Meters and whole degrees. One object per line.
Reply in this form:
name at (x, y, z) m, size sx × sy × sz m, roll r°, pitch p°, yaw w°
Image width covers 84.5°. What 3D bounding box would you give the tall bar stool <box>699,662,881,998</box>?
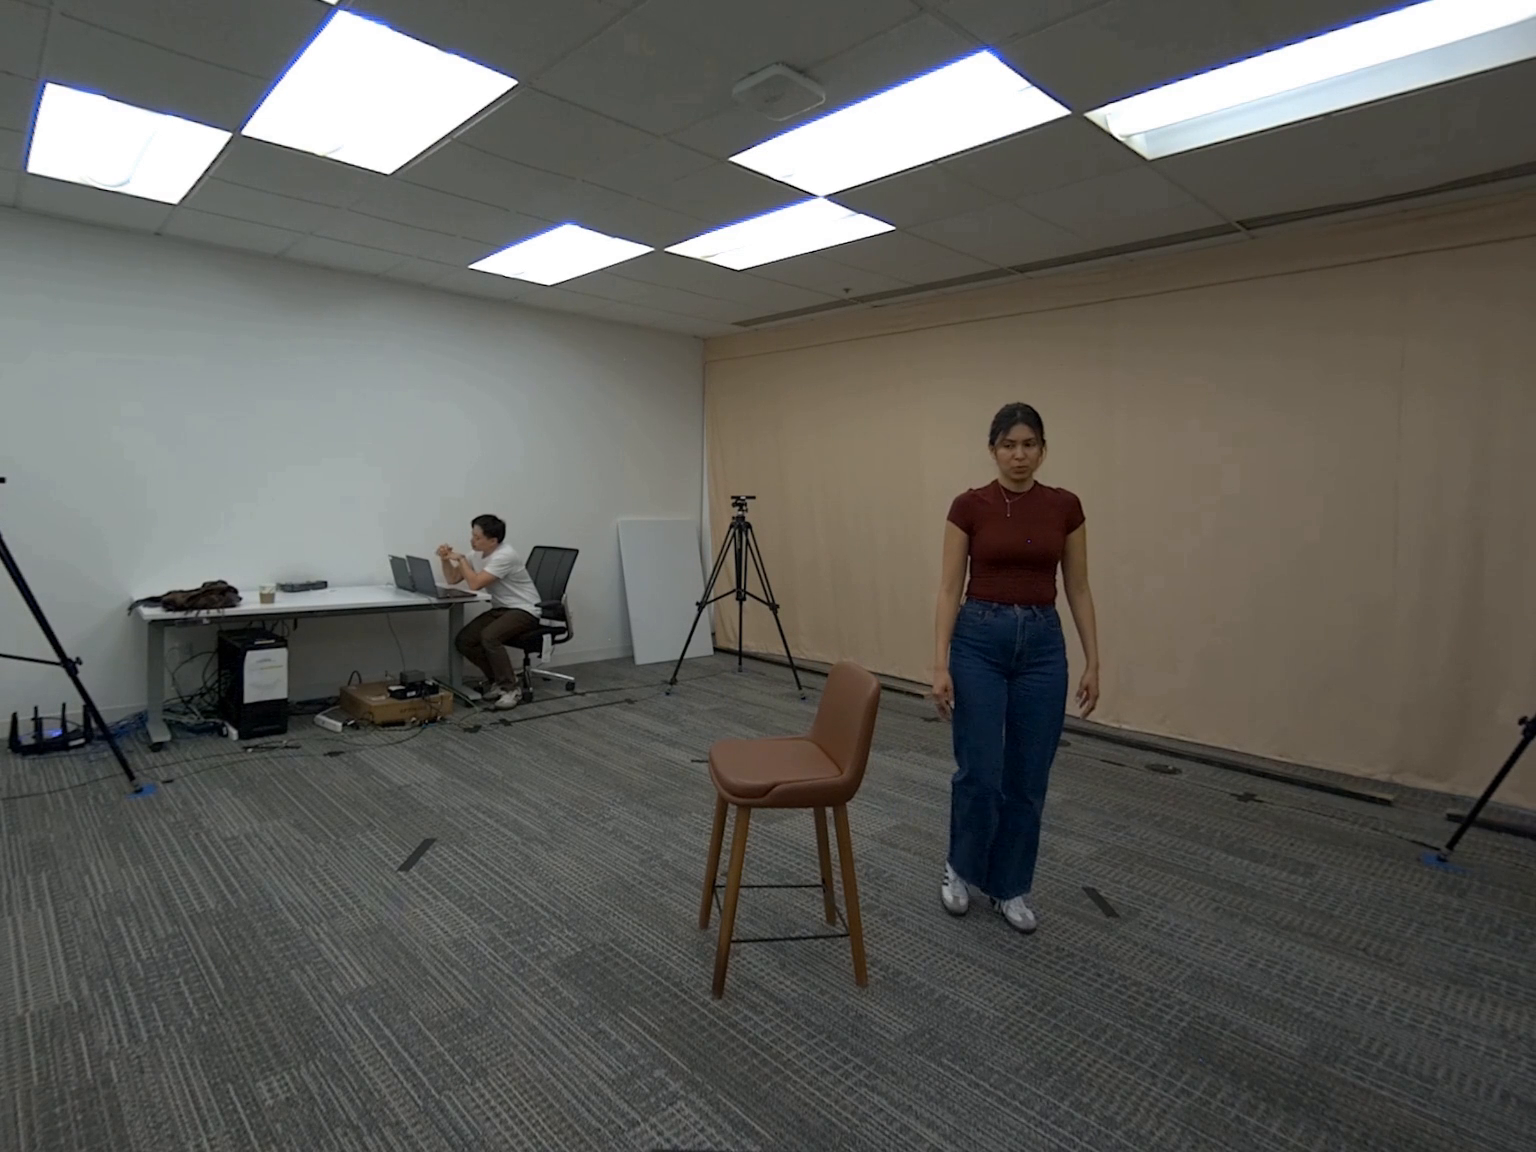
tall bar stool at (0.055, 0.724, 2.539) m, size 0.464 × 0.887 × 0.461 m, roll 3°, pitch 4°, yaw -10°
